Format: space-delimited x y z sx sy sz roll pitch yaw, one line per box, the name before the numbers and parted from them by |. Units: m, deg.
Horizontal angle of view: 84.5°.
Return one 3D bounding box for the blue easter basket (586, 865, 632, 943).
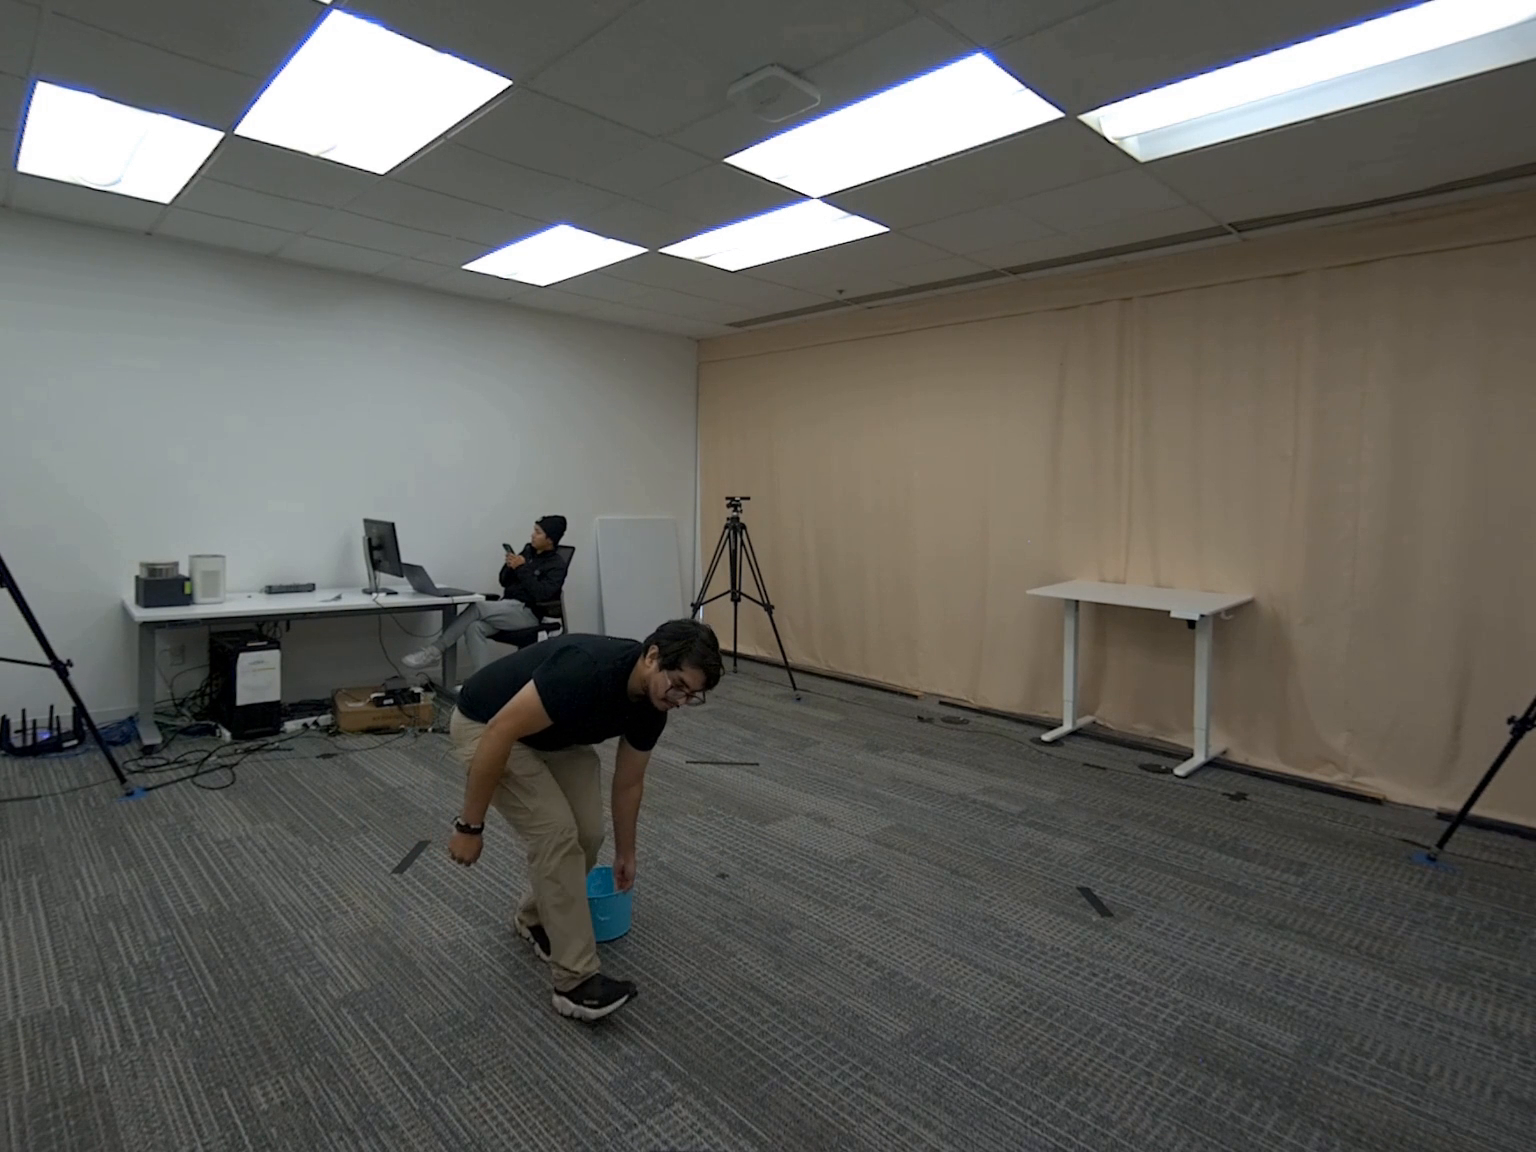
blue easter basket | -0.538 1.055 2.696 0.243 0.155 0.244 -2 4 -1
